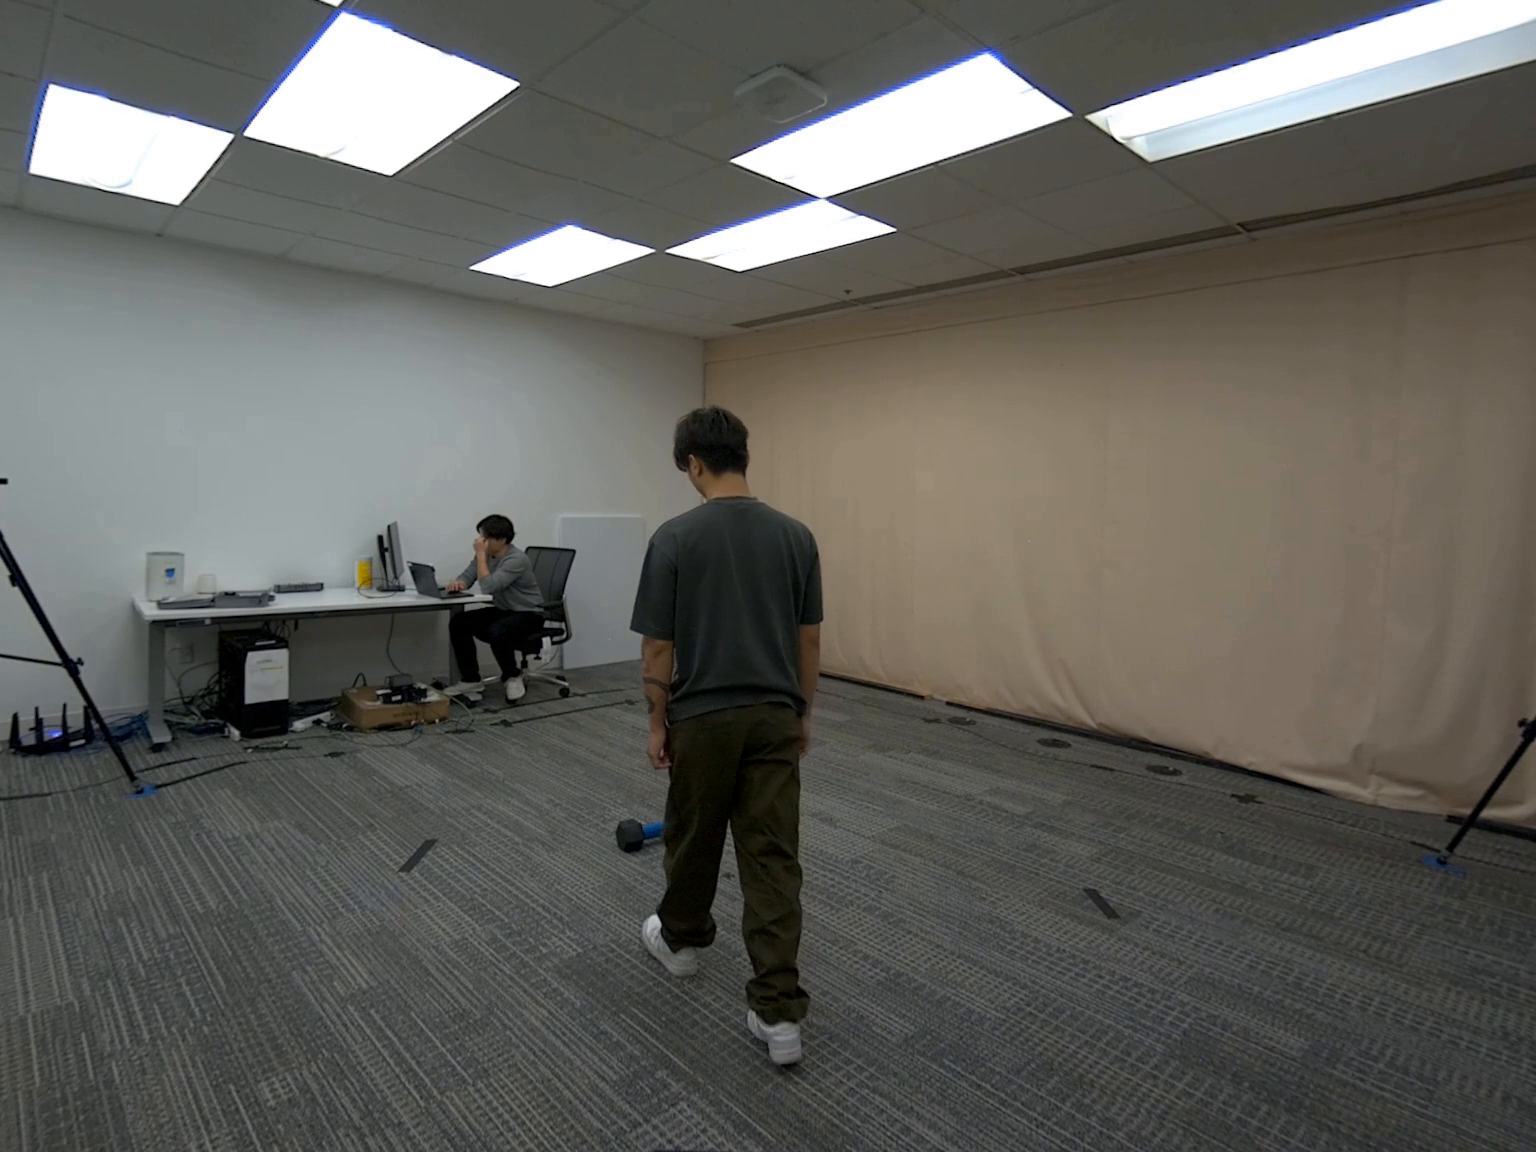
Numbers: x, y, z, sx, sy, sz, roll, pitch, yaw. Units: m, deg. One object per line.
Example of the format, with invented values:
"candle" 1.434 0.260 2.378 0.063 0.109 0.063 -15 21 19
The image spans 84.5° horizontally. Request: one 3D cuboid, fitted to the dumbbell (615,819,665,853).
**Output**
"dumbbell" -0.467 1.022 3.378 0.287 0.125 0.109 -2 -26 -33
